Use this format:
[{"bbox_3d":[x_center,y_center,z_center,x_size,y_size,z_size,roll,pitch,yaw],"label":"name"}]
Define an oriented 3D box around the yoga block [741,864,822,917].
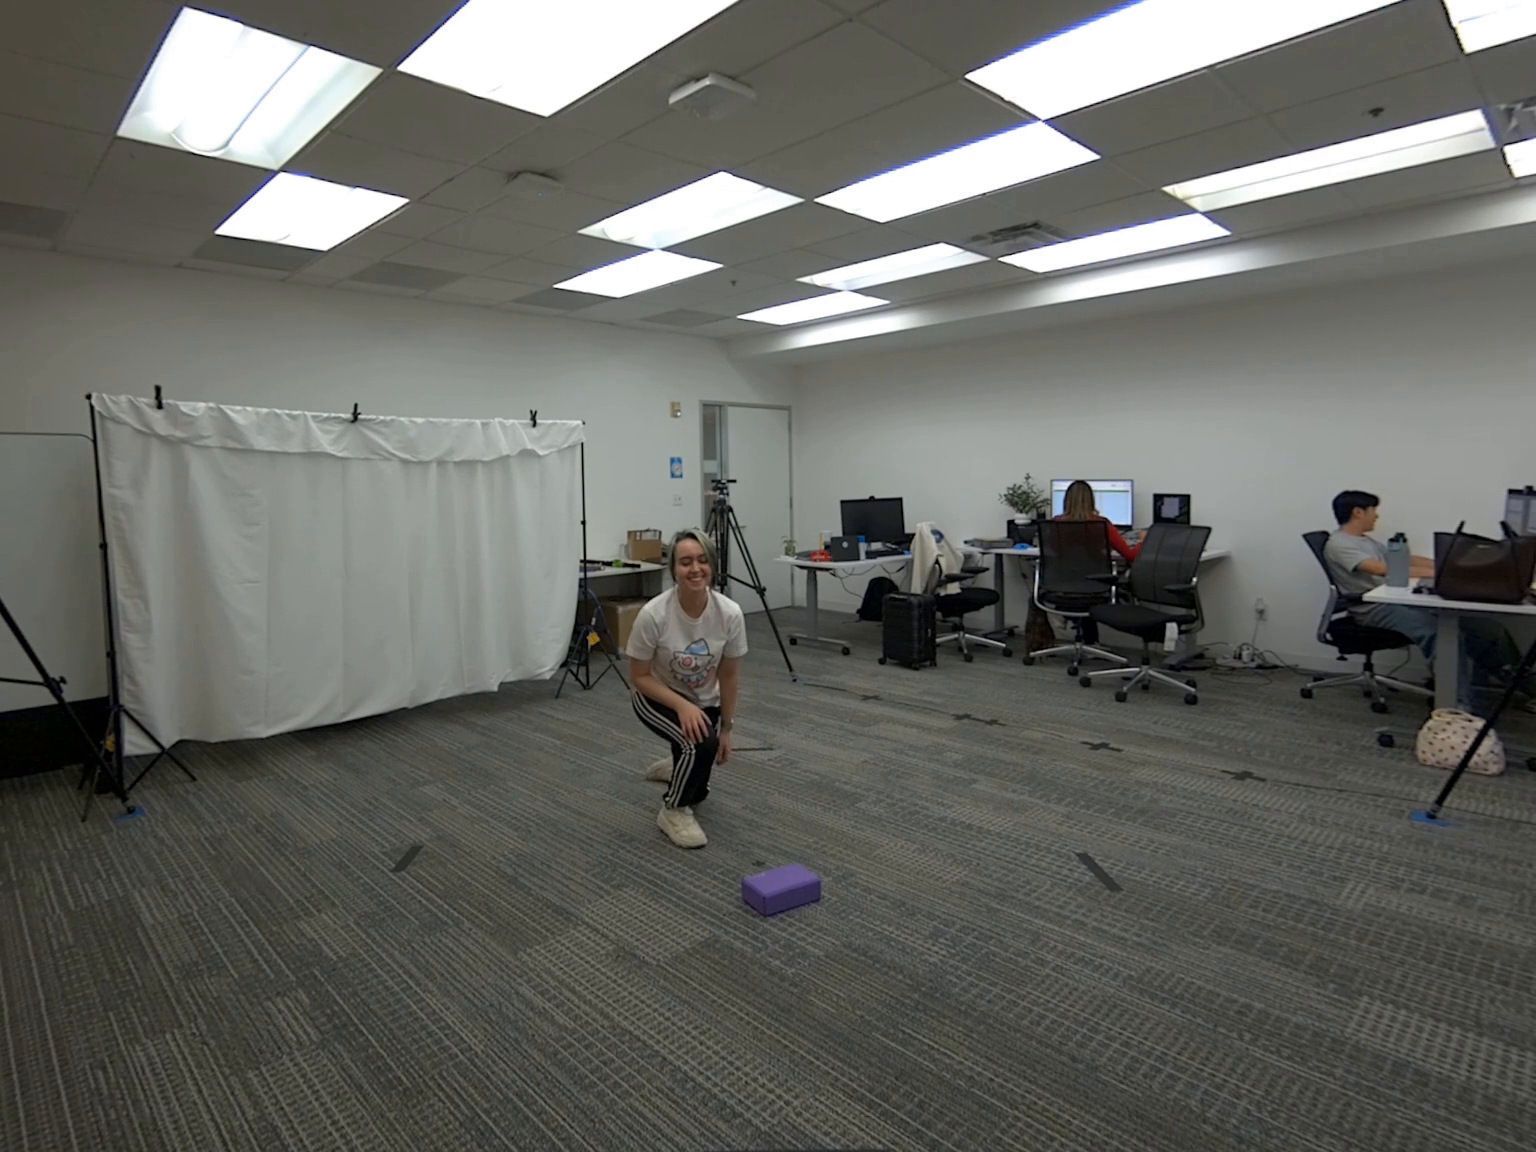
[{"bbox_3d":[0.049,1.038,2.834,0.224,0.076,0.153,-4,7,-30],"label":"yoga block"}]
